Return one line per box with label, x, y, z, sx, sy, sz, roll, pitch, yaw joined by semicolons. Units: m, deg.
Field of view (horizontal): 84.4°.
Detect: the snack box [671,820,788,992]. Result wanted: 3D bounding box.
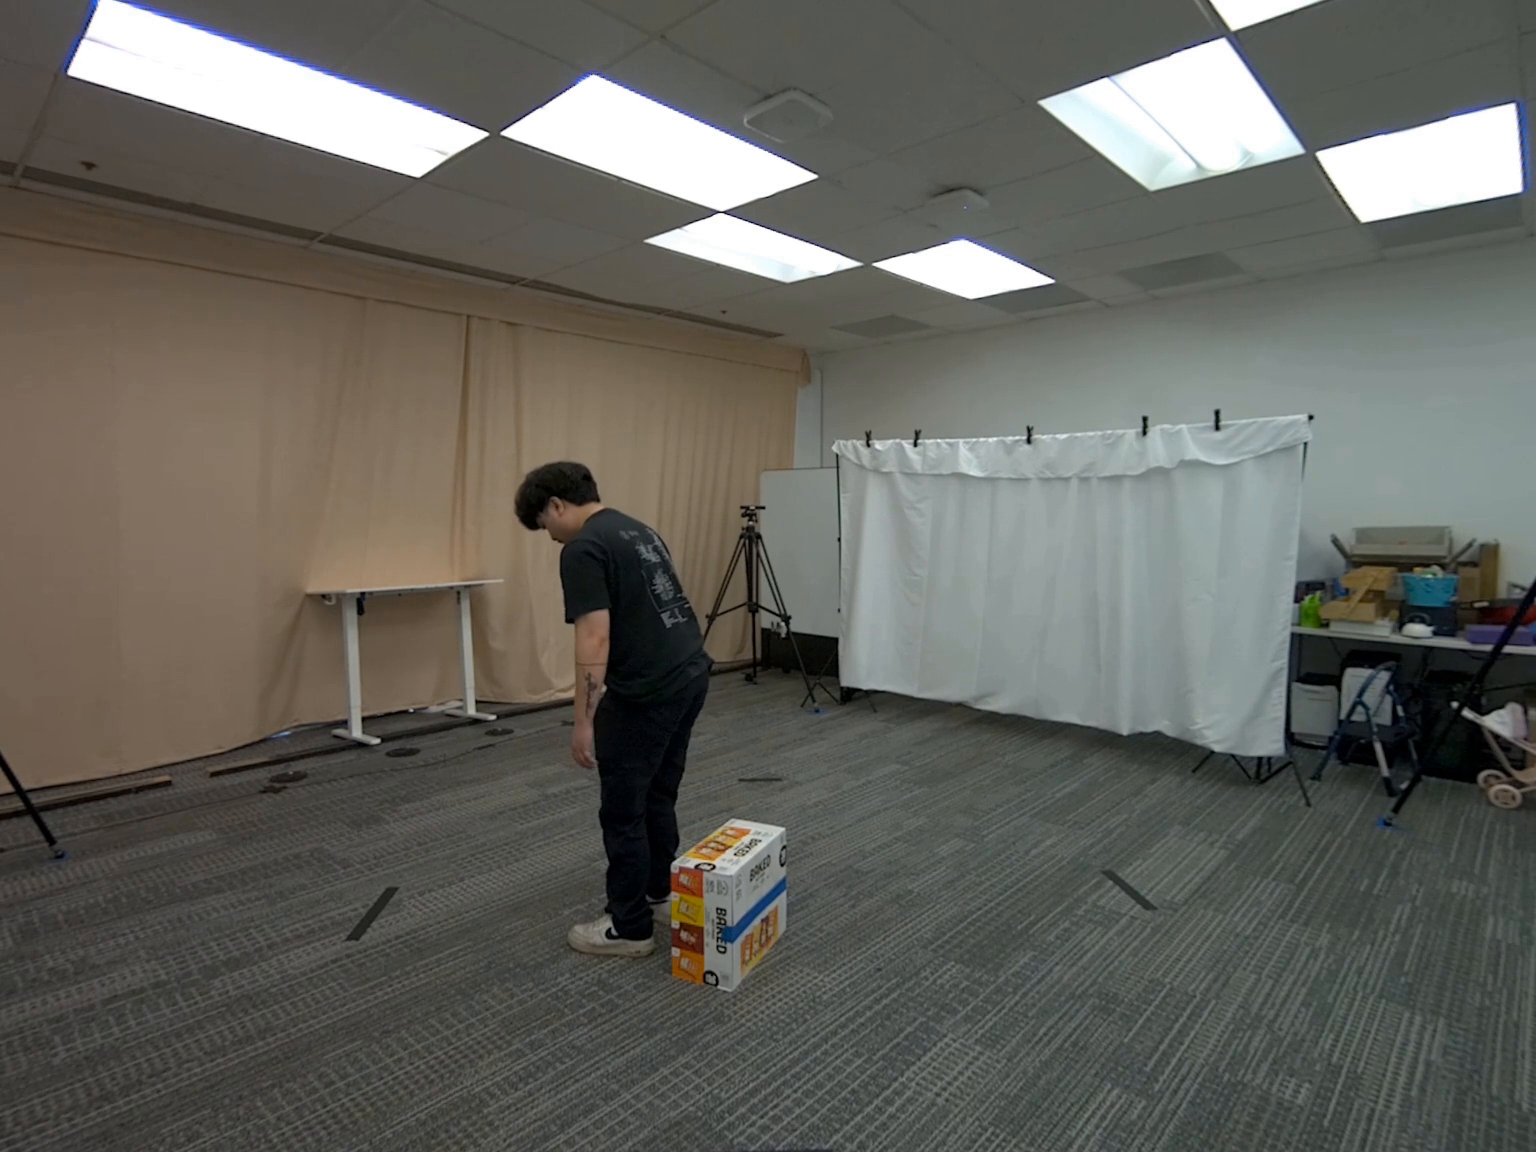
snack box;-0.112;1.004;2.624;0.211;0.340;0.396;1;4;25
